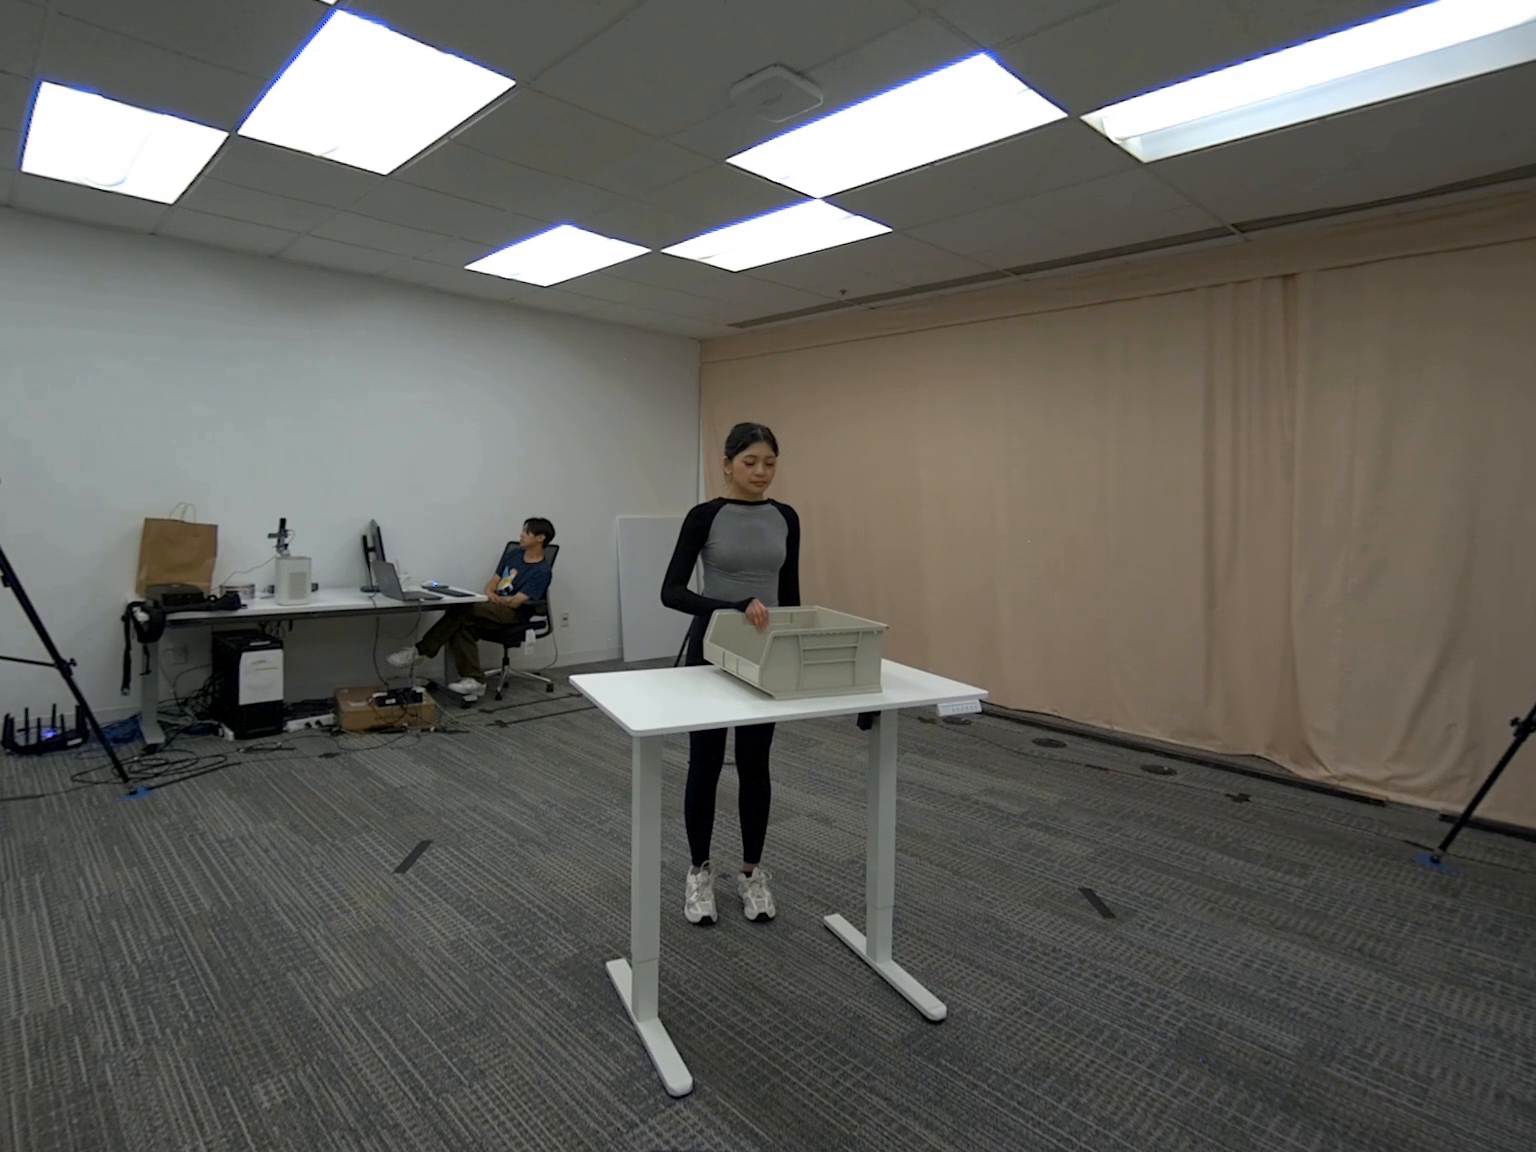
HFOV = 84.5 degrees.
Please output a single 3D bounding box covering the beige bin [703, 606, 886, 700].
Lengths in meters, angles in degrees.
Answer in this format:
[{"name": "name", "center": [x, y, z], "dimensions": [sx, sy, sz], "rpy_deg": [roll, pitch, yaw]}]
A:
[{"name": "beige bin", "center": [0.056, 0.216, 2.358], "dimensions": [0.371, 0.188, 0.430], "rpy_deg": [0, 4, -24]}]
